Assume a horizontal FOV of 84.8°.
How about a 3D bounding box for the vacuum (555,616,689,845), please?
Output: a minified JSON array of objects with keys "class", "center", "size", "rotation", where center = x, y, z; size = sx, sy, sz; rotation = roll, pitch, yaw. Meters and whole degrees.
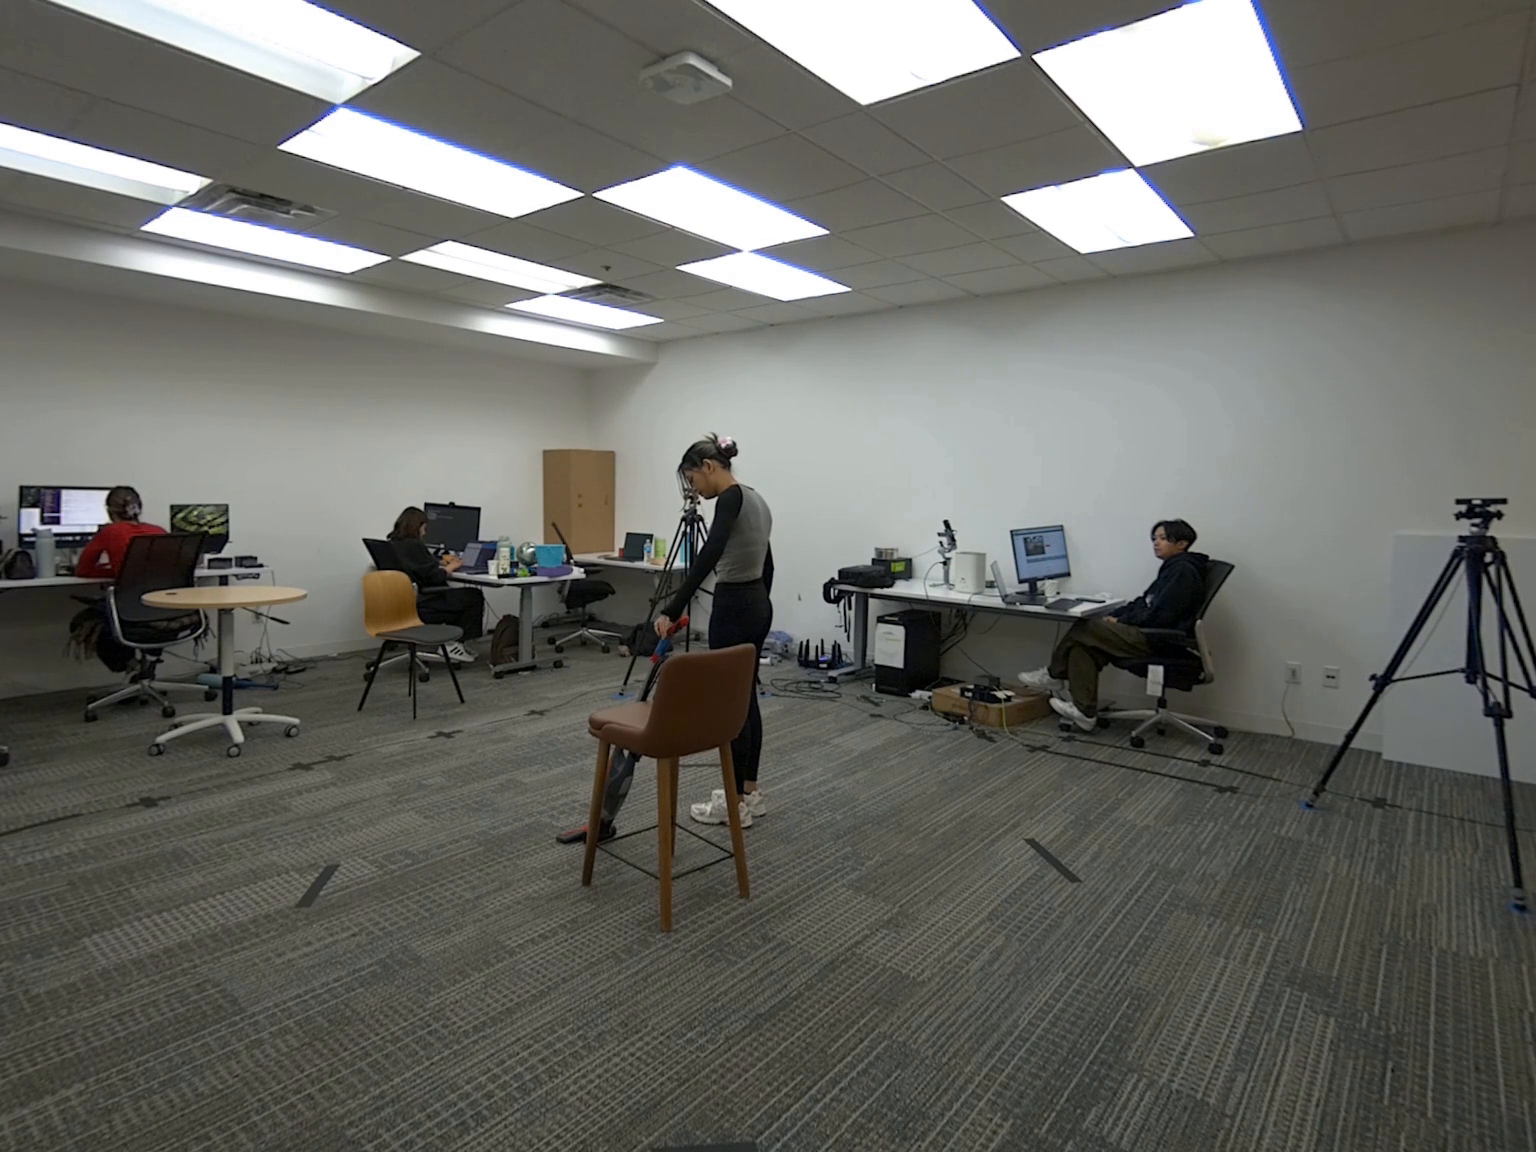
[{"class":"vacuum","center":[-0.523,0.592,3.193],"size":[0.149,1.040,0.245],"rotation":[38,24,30]}]
